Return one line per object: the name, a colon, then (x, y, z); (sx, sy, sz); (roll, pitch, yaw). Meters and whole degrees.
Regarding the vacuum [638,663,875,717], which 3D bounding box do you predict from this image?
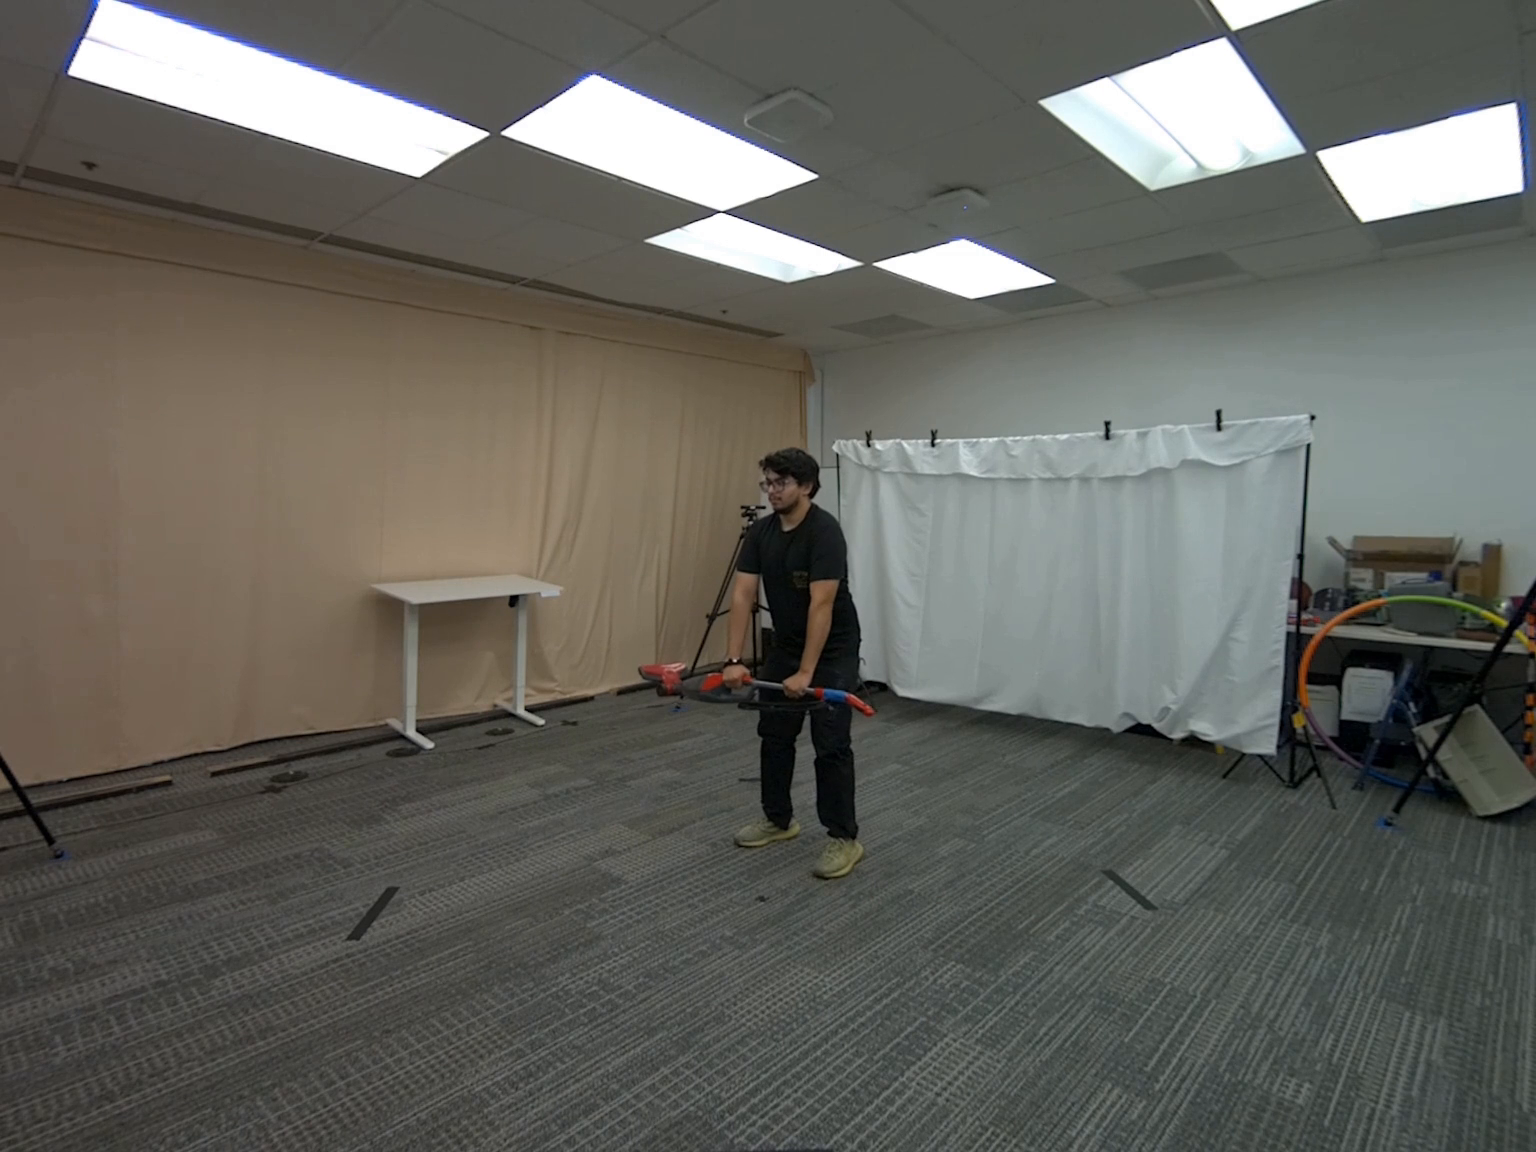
vacuum: (-0.048, 0.457, 3.164); (0.244, 0.144, 1.084); (7, -3, -44)
